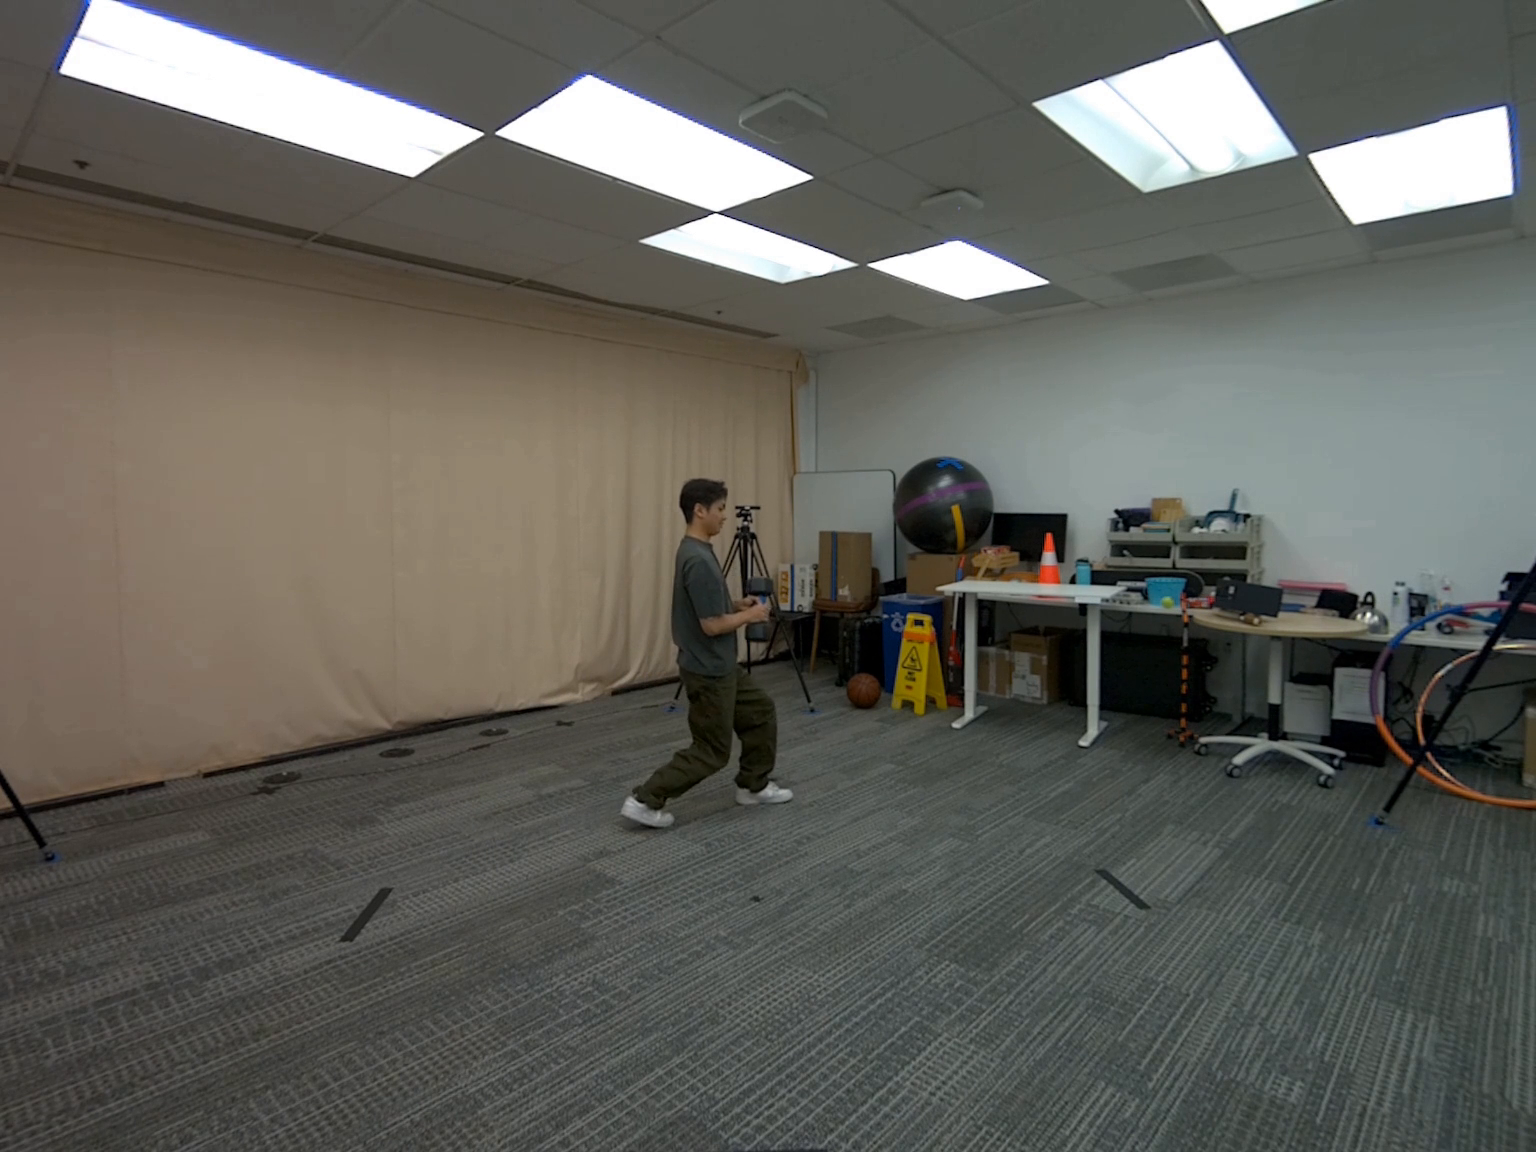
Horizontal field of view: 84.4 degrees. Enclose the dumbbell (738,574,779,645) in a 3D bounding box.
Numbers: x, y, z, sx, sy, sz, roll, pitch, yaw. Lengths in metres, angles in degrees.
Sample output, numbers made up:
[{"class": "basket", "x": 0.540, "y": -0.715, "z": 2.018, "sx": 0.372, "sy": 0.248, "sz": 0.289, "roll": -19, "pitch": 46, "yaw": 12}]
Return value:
[{"class": "dumbbell", "x": -0.045, "y": 0.149, "z": 3.817, "sx": 0.112, "sy": 0.296, "sz": 0.118, "roll": -6, "pitch": -17, "yaw": 37}]
